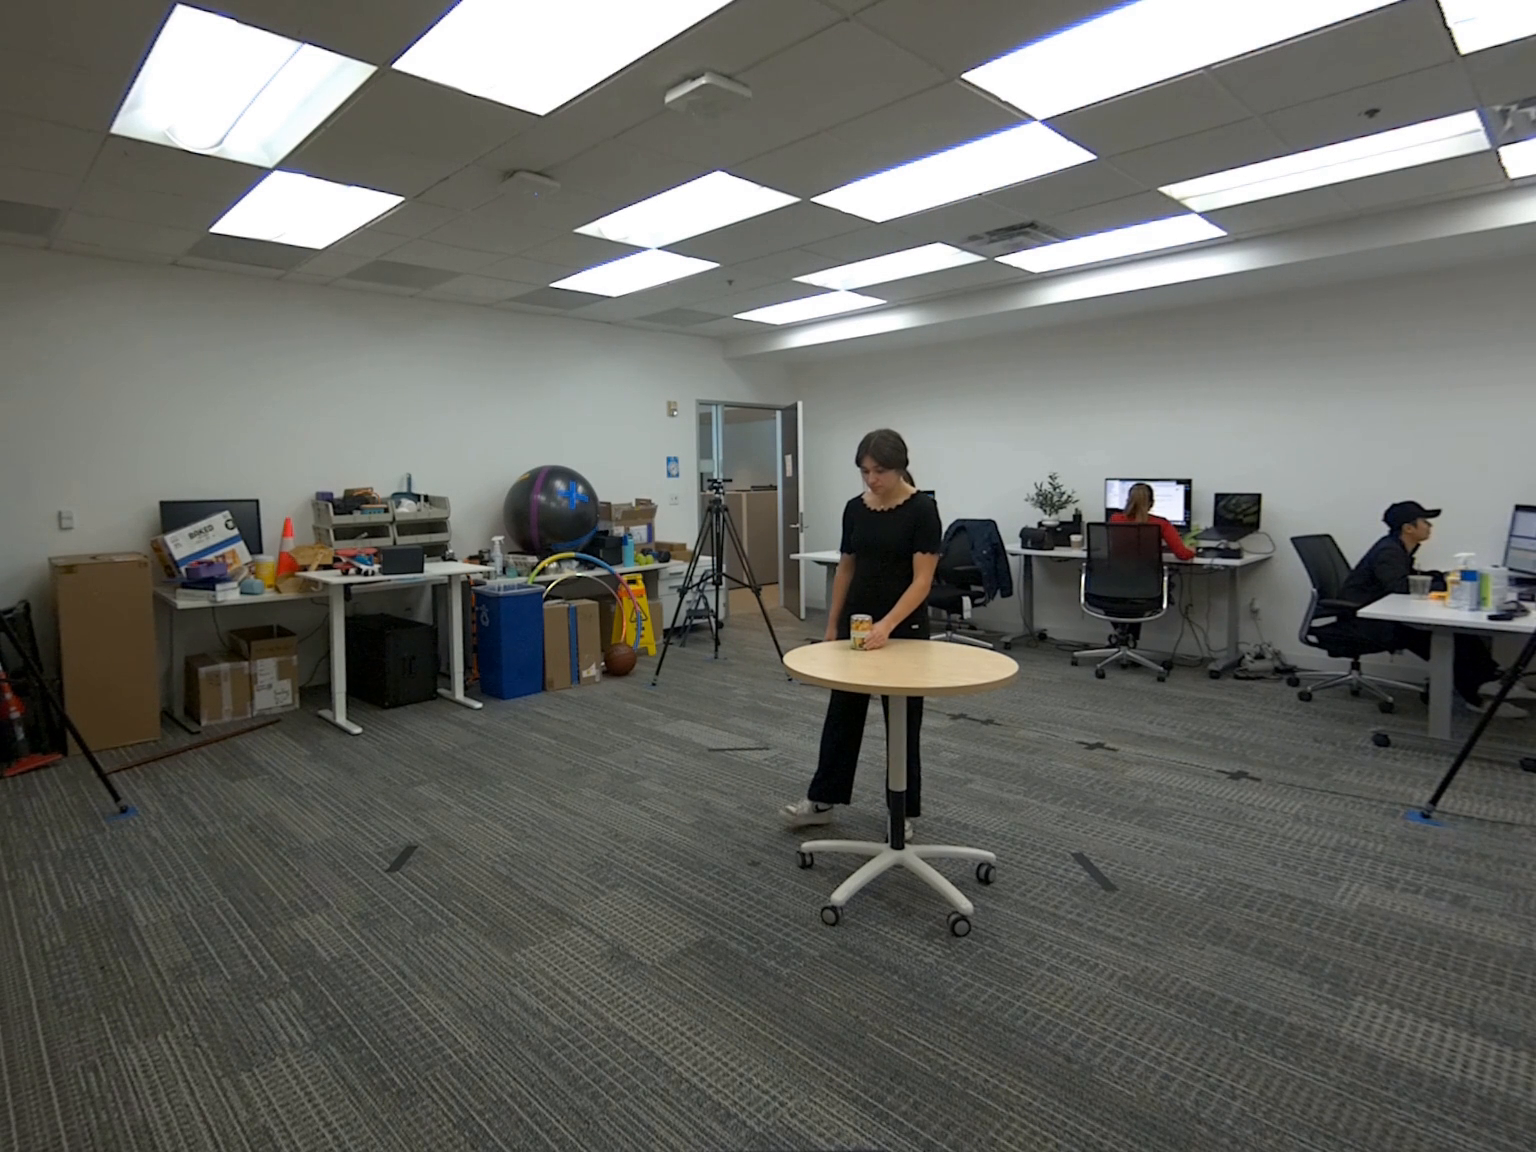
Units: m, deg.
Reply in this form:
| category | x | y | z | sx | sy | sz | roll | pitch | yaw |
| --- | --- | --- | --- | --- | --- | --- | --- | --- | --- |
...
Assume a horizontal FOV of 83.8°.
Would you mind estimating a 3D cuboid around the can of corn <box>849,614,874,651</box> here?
| category | x | y | z | sx | sy | sz | roll | pitch | yaw |
| --- | --- | --- | --- | --- | --- | --- | --- | --- | --- |
| can of corn | 0.325 | 0.200 | 3.052 | 0.074 | 0.110 | 0.074 | 0 | 4 | -2 |
